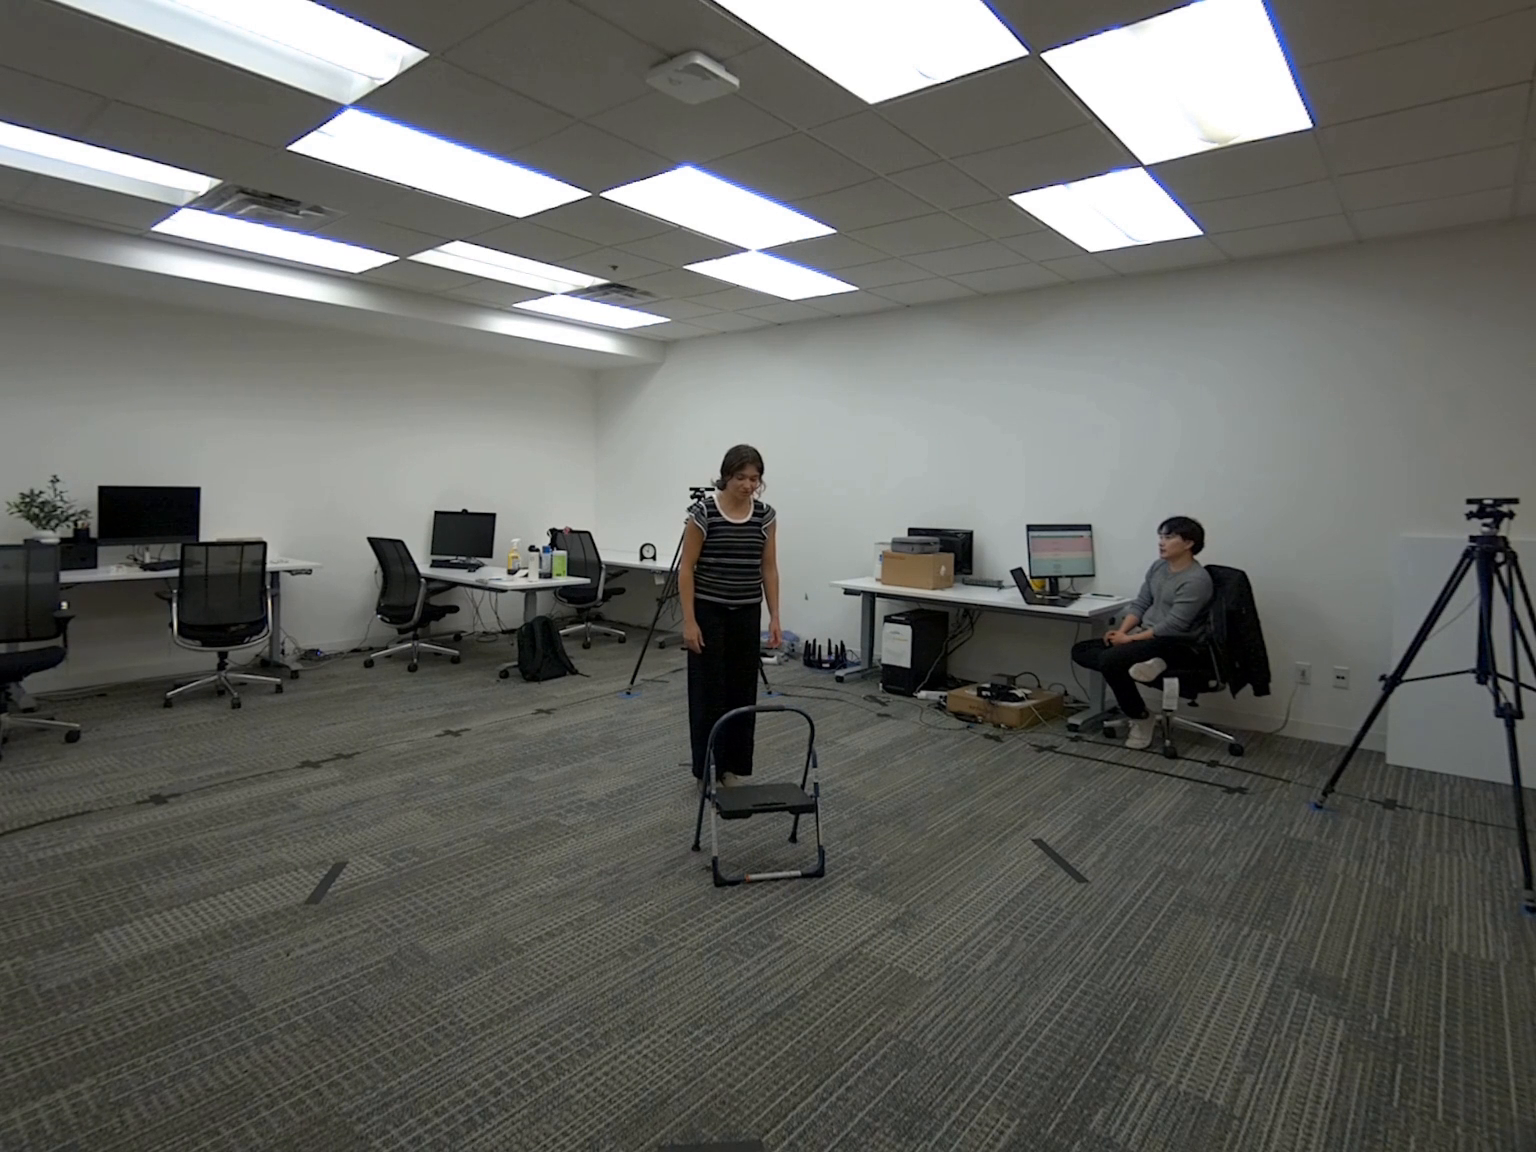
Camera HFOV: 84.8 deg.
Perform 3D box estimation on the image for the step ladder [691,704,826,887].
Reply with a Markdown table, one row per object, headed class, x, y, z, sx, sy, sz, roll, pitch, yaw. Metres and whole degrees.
| class | x | y | z | sx | sy | sz | roll | pitch | yaw |
| --- | --- | --- | --- | --- | --- | --- | --- | --- | --- |
| step ladder | -0.043 | 0.764 | 3.163 | 0.423 | 0.604 | 0.356 | 0 | 3 | -17 |
